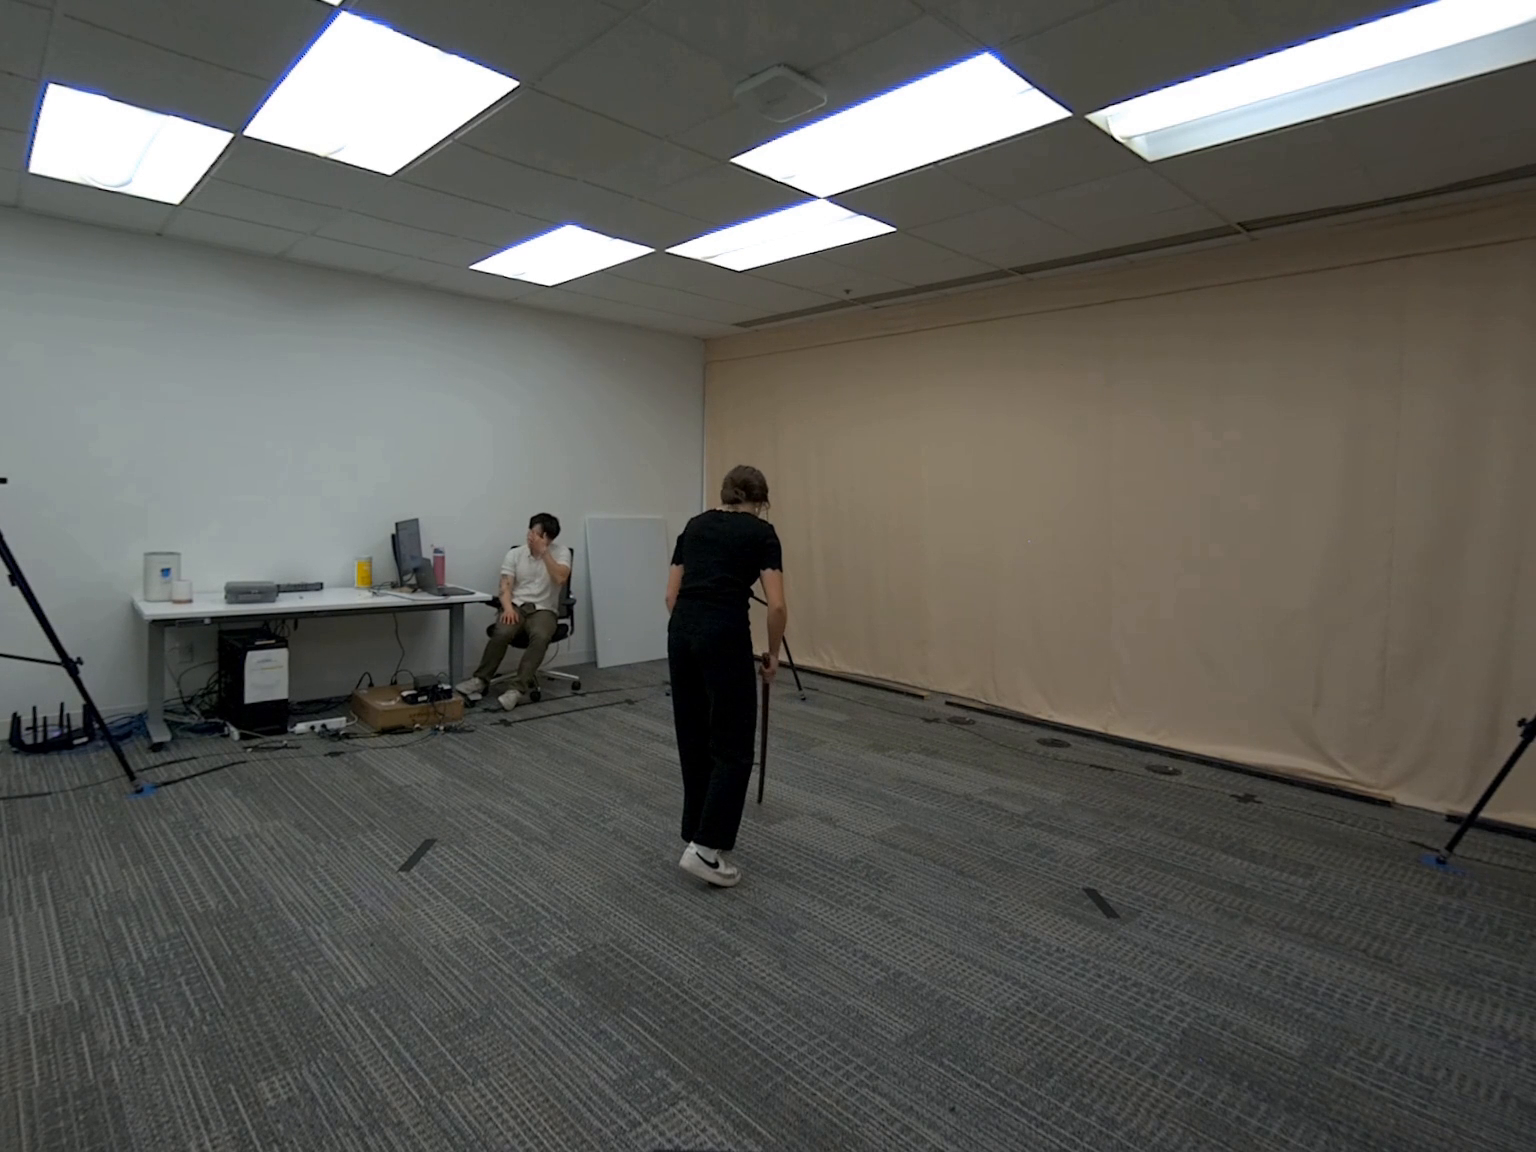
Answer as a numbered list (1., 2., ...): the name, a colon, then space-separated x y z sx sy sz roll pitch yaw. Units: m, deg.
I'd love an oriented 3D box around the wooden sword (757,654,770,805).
1. wooden sword: -0.030 0.690 3.531 0.051 1.003 0.025 -28 53 -29
